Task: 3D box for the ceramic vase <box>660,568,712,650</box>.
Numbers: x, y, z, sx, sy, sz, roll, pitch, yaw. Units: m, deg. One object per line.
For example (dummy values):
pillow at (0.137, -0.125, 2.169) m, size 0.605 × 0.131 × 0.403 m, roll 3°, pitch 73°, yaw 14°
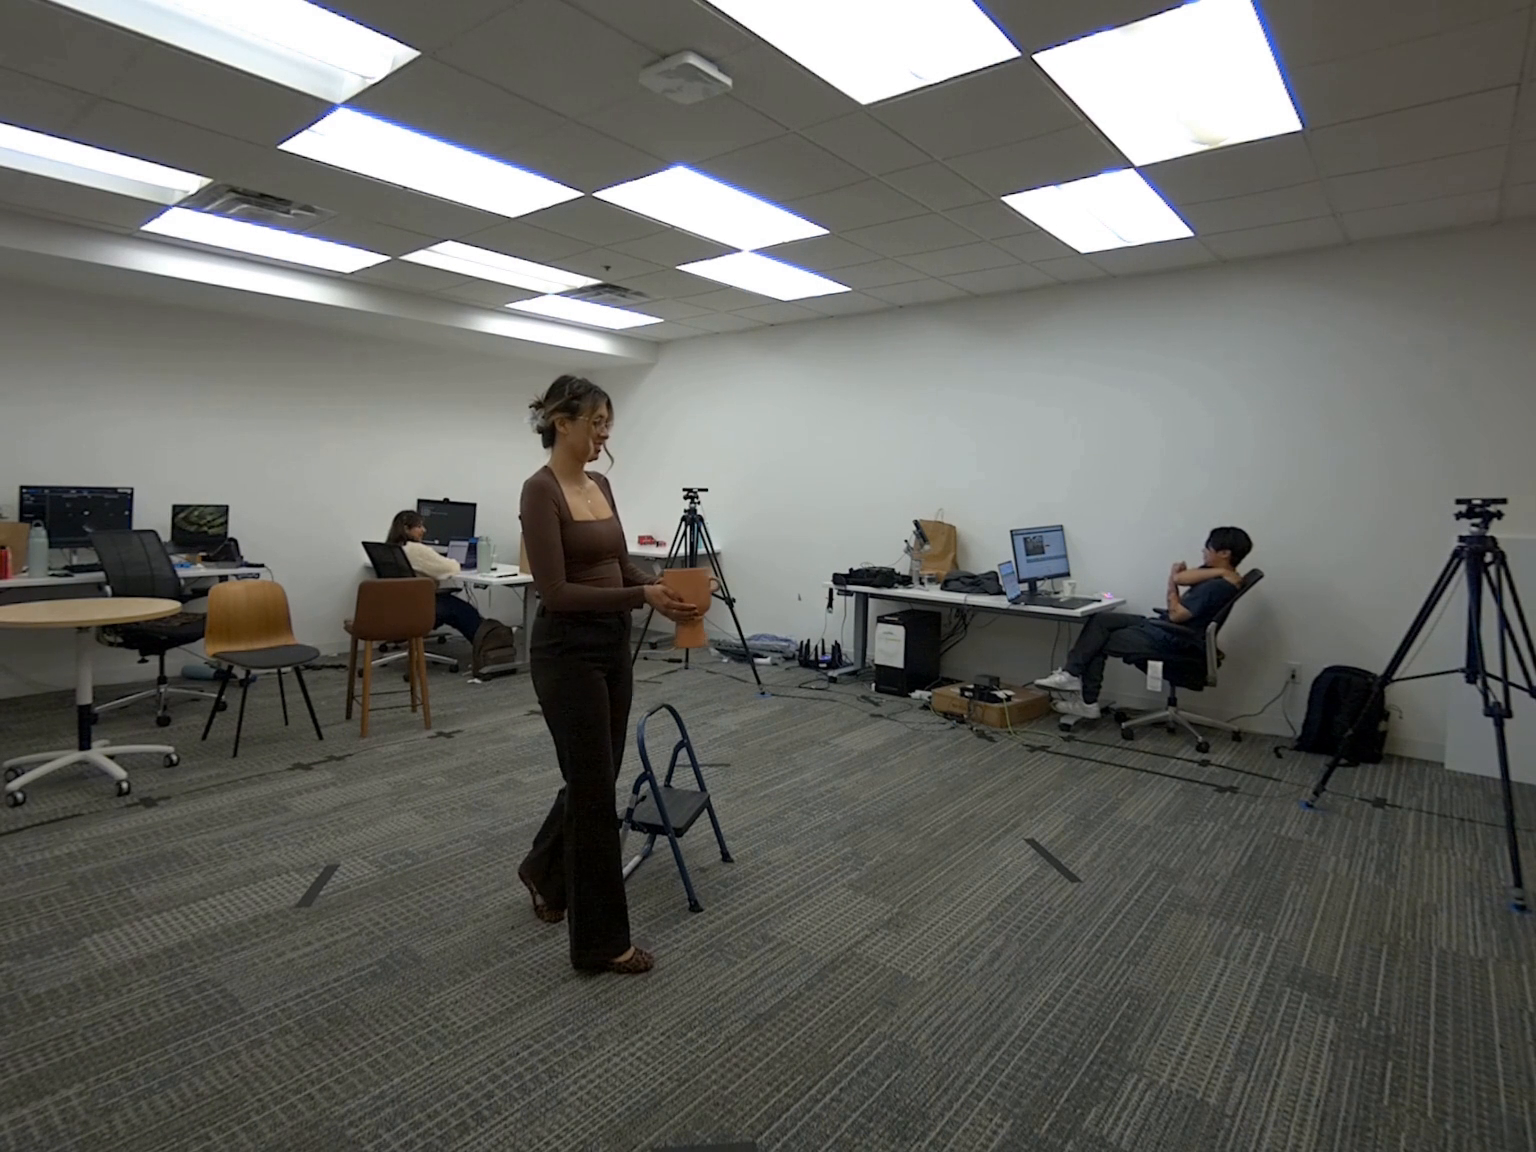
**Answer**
ceramic vase at (-0.242, 0.091, 2.409) m, size 0.130 × 0.220 × 0.164 m, roll -3°, pitch 1°, yaw -41°
